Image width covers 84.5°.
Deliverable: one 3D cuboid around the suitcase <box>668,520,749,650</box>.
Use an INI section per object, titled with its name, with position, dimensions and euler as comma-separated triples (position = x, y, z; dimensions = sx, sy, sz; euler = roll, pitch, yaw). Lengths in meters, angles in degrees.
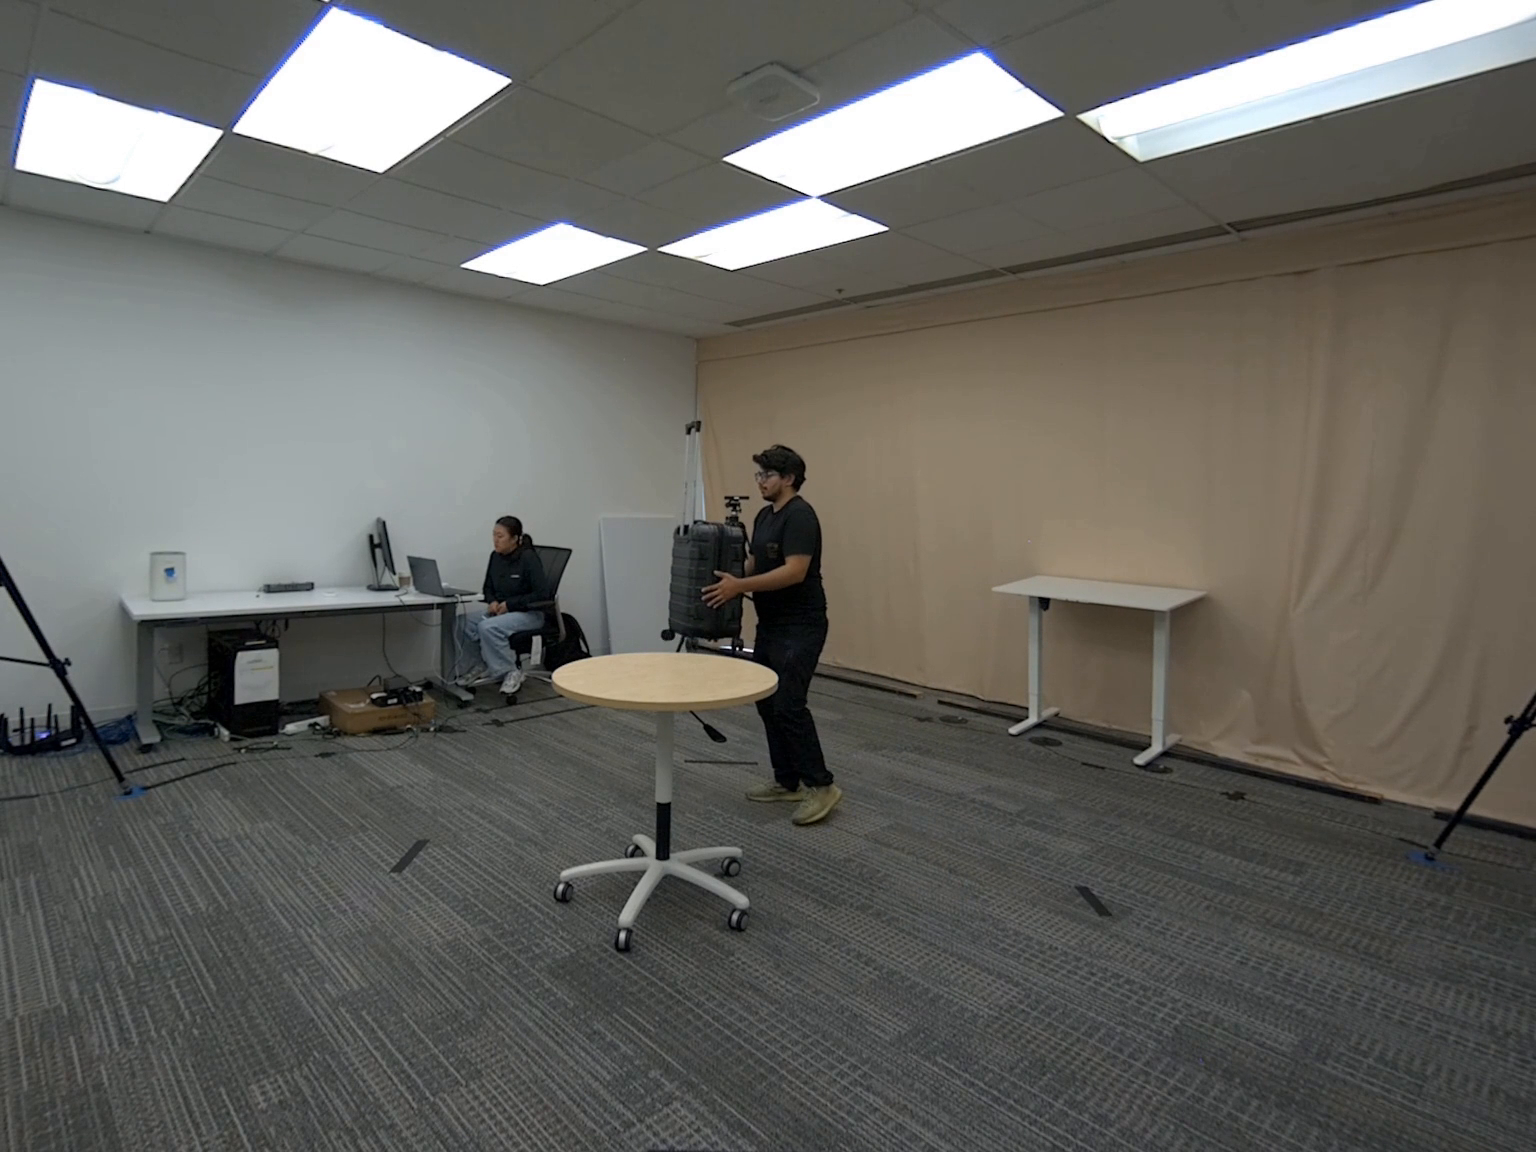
[suitcase]
position = -0.267, -0.172, 3.738
dimensions = 0.253, 0.978, 0.390
euler = 4, 1, -18
